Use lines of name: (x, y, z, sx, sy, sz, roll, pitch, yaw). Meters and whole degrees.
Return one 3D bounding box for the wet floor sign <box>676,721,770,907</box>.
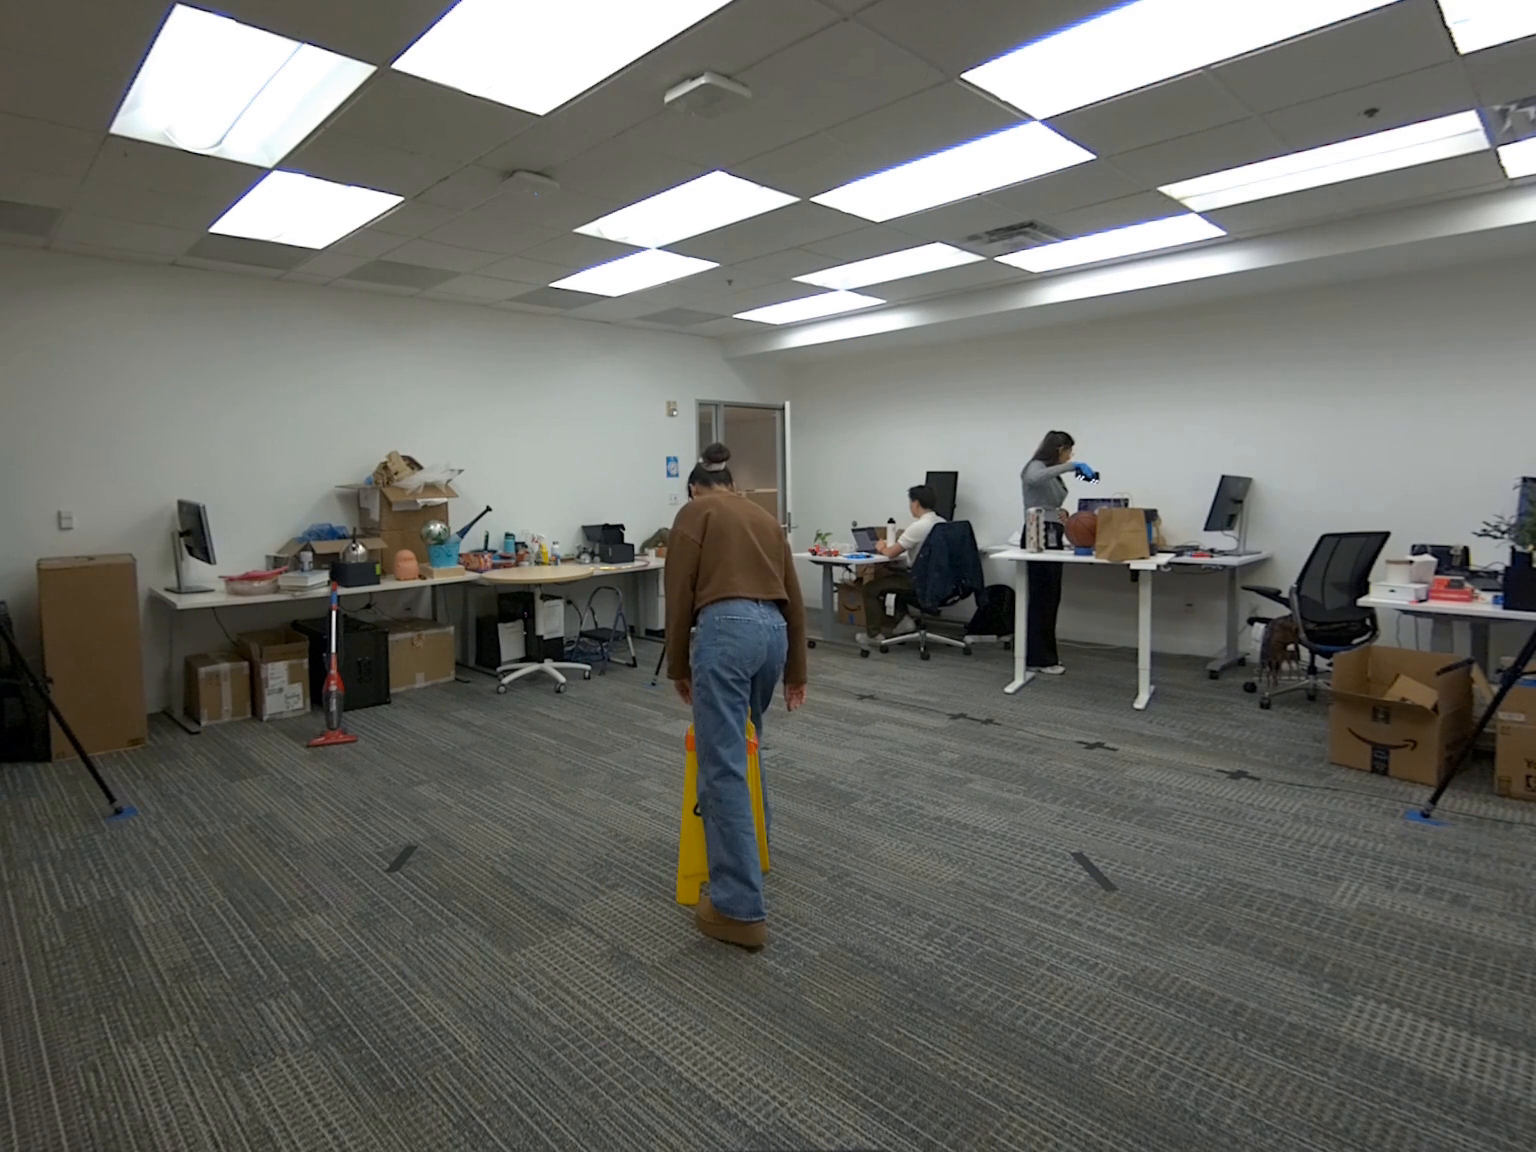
wet floor sign: (-0.159, 0.747, 2.914, 0.285, 0.644, 0.287, -2, 3, 11)
